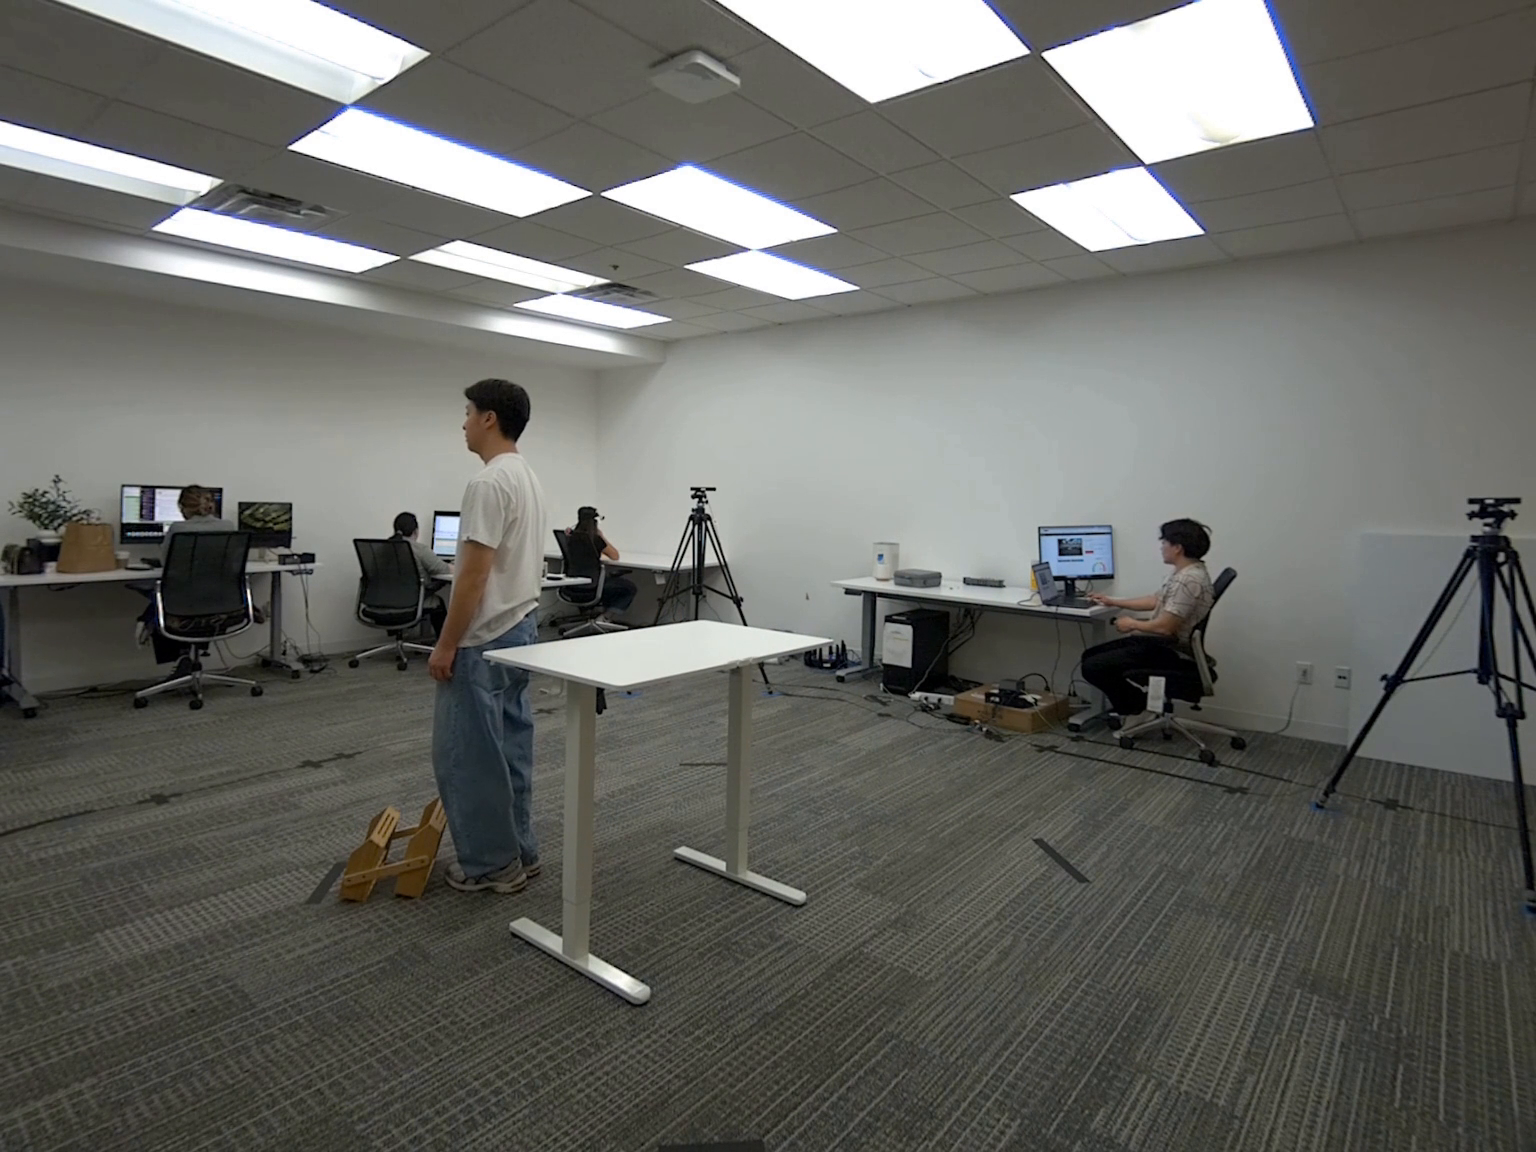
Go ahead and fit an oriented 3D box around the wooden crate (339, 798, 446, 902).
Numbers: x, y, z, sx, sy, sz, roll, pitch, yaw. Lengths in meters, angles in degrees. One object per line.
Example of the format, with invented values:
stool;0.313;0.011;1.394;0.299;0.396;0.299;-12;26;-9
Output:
wooden crate;-1.312;0.934;2.975;0.269;0.302;0.329;17;1;-13
